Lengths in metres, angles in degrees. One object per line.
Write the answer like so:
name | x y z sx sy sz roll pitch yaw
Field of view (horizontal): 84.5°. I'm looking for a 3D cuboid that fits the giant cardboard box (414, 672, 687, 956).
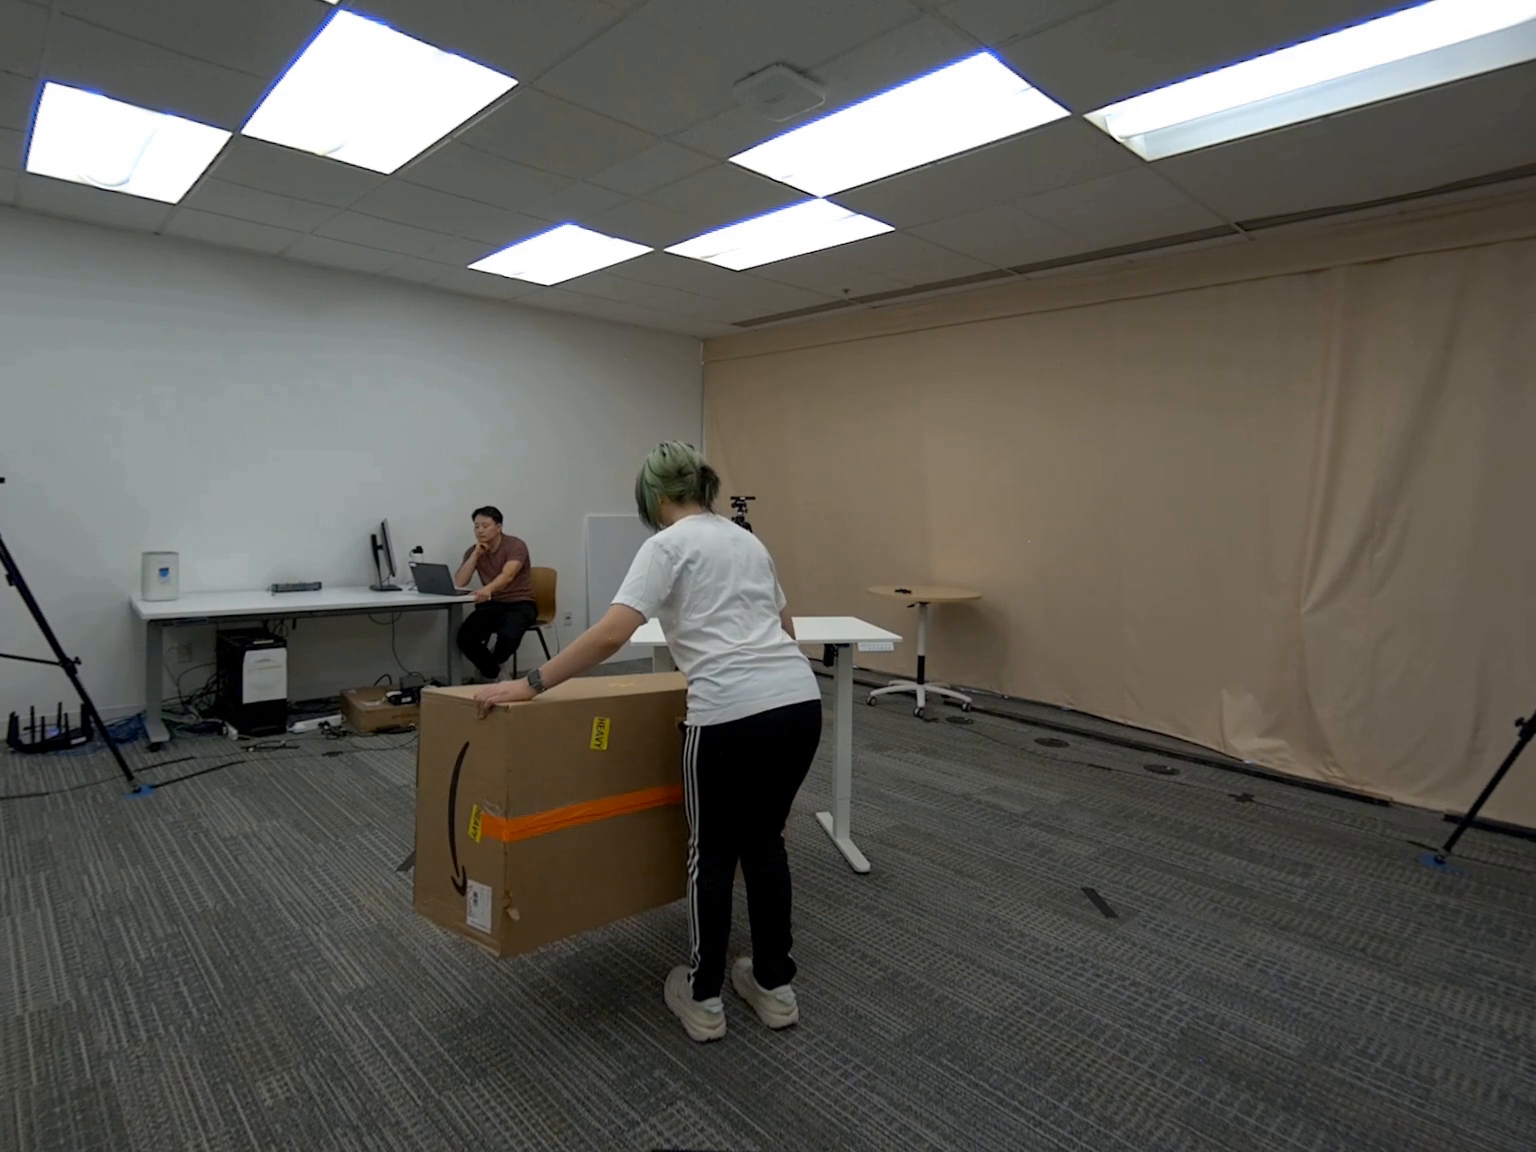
giant cardboard box | -0.433 0.608 2.425 0.457 0.585 1.001 0 -2 41
